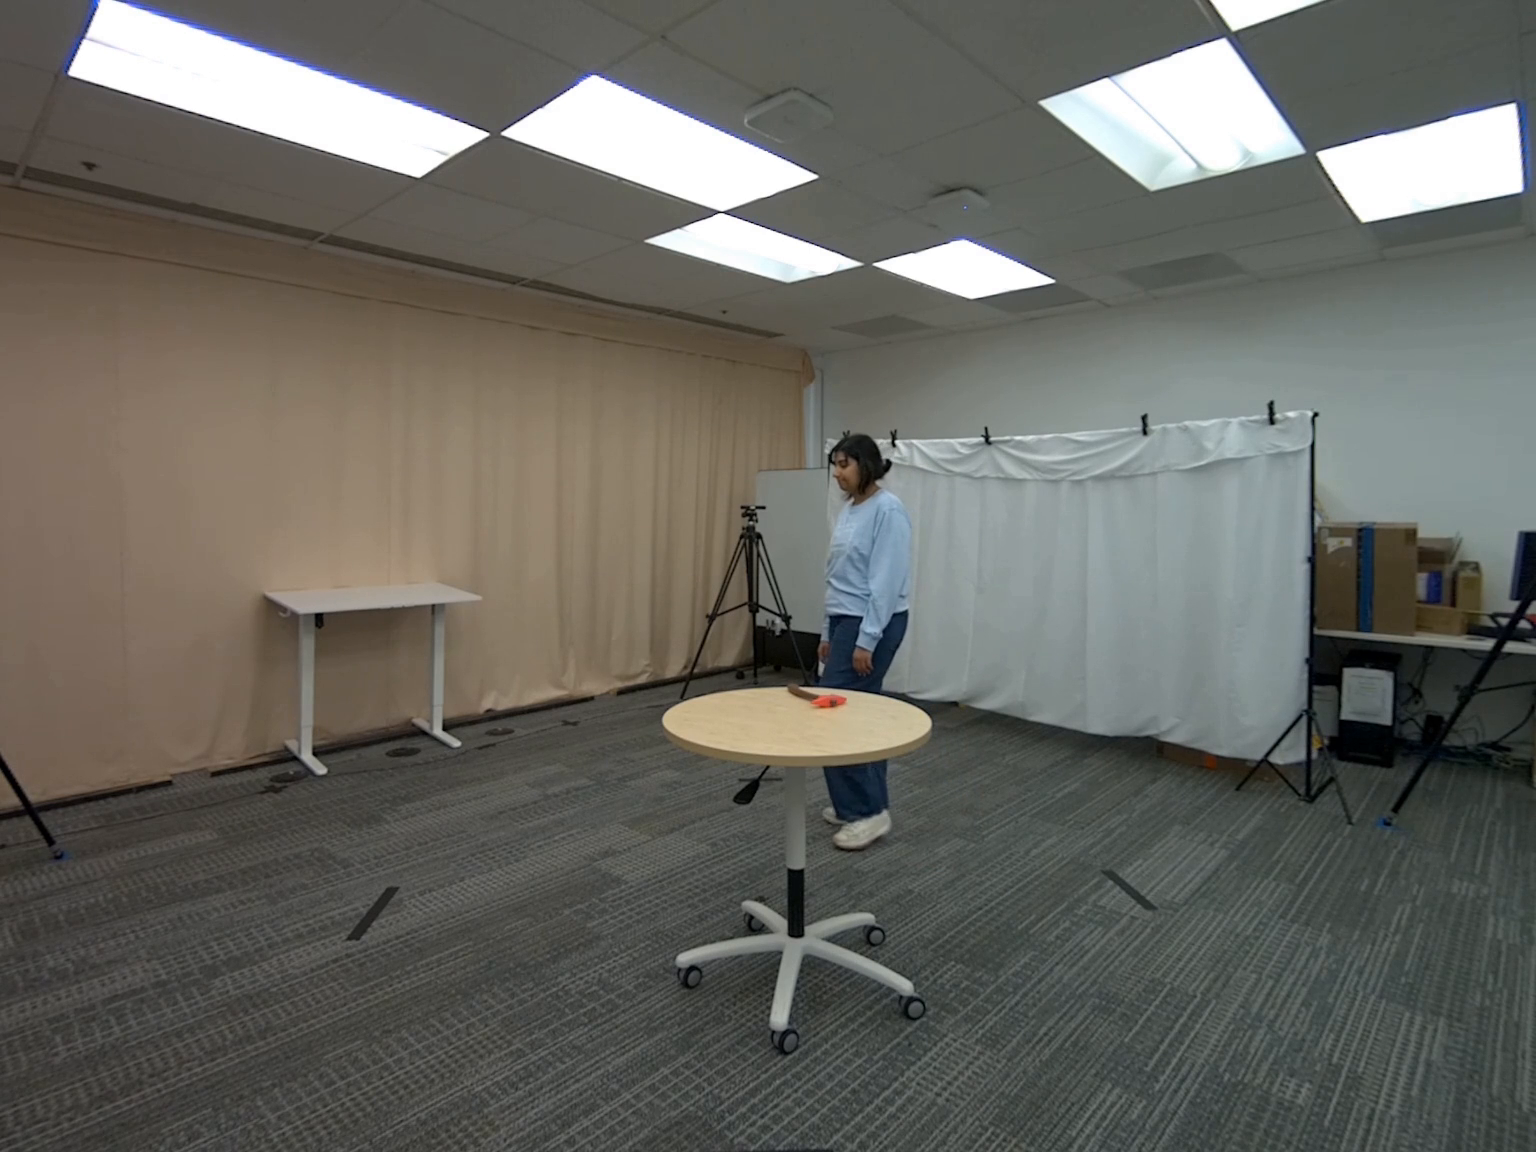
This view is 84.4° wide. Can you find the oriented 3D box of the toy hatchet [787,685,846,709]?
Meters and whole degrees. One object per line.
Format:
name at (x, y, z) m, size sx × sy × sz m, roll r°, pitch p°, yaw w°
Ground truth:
toy hatchet at (0.173, 0.373, 2.654) m, size 0.129 × 0.029 × 0.274 m, roll -1°, pitch 4°, yaw -13°
